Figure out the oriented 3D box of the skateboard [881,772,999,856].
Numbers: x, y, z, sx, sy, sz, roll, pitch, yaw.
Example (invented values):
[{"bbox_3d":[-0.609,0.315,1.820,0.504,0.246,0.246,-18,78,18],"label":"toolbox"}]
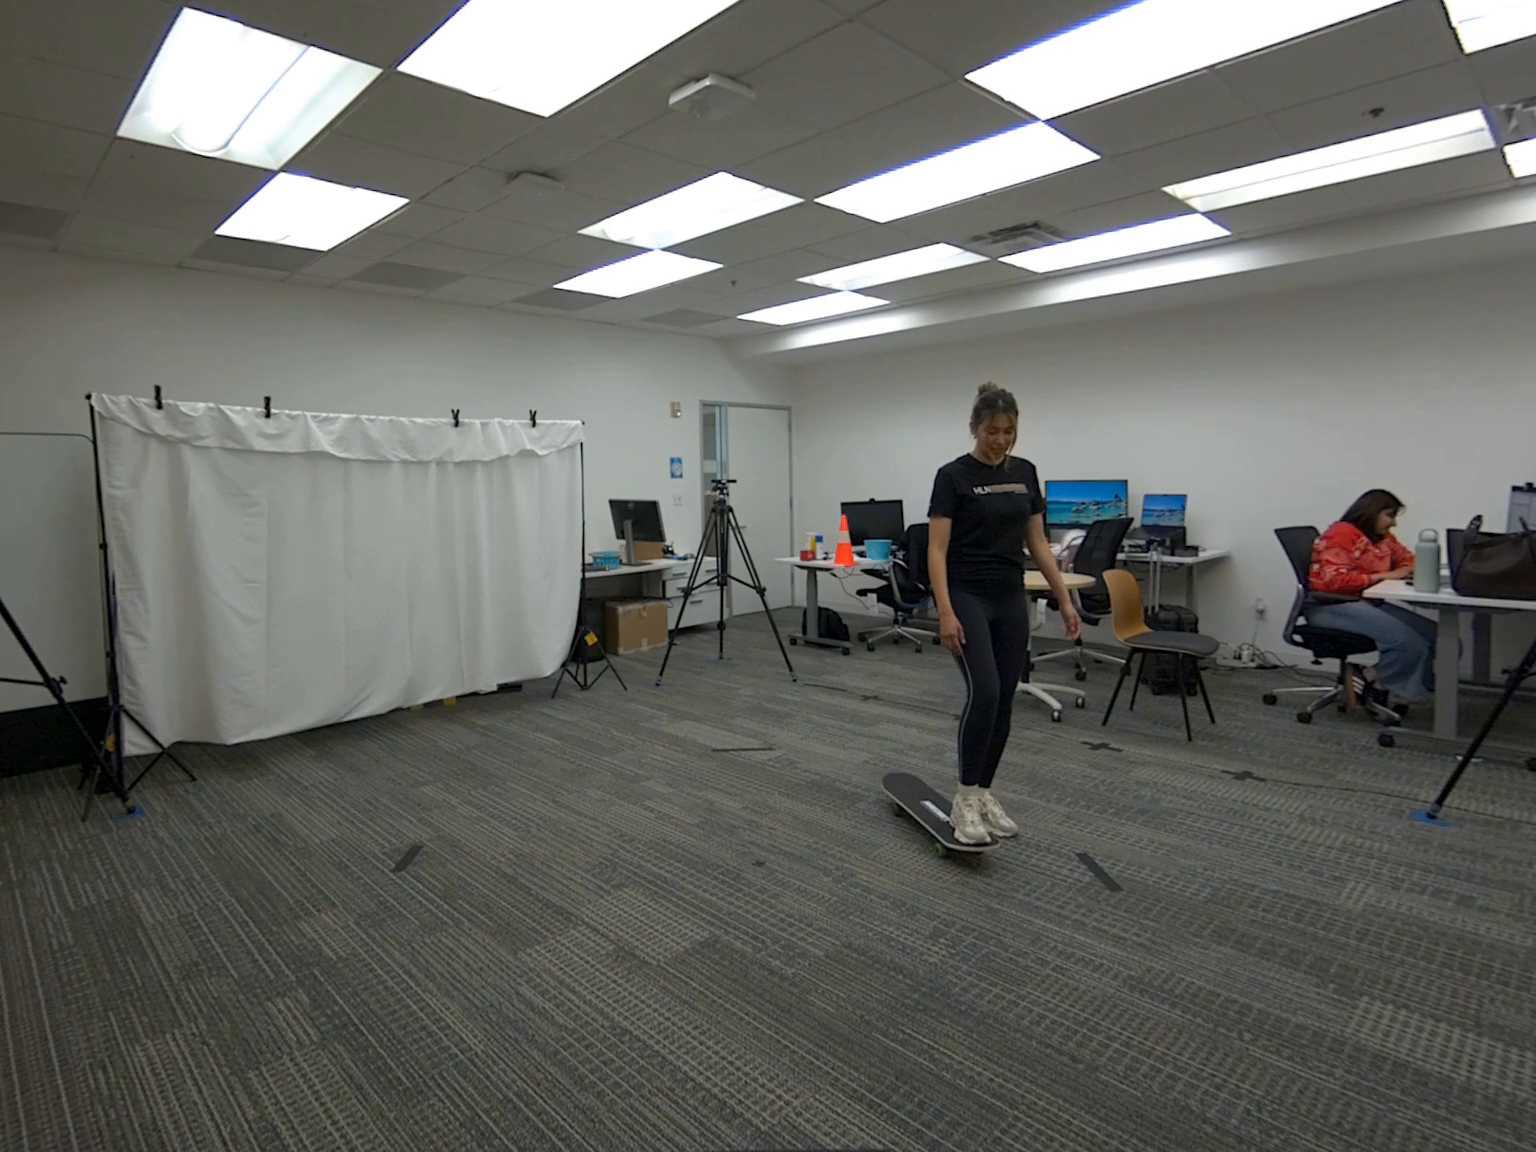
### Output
[{"bbox_3d":[0.657,0.953,3.345,0.191,0.110,0.798,-3,7,-14],"label":"skateboard"}]
